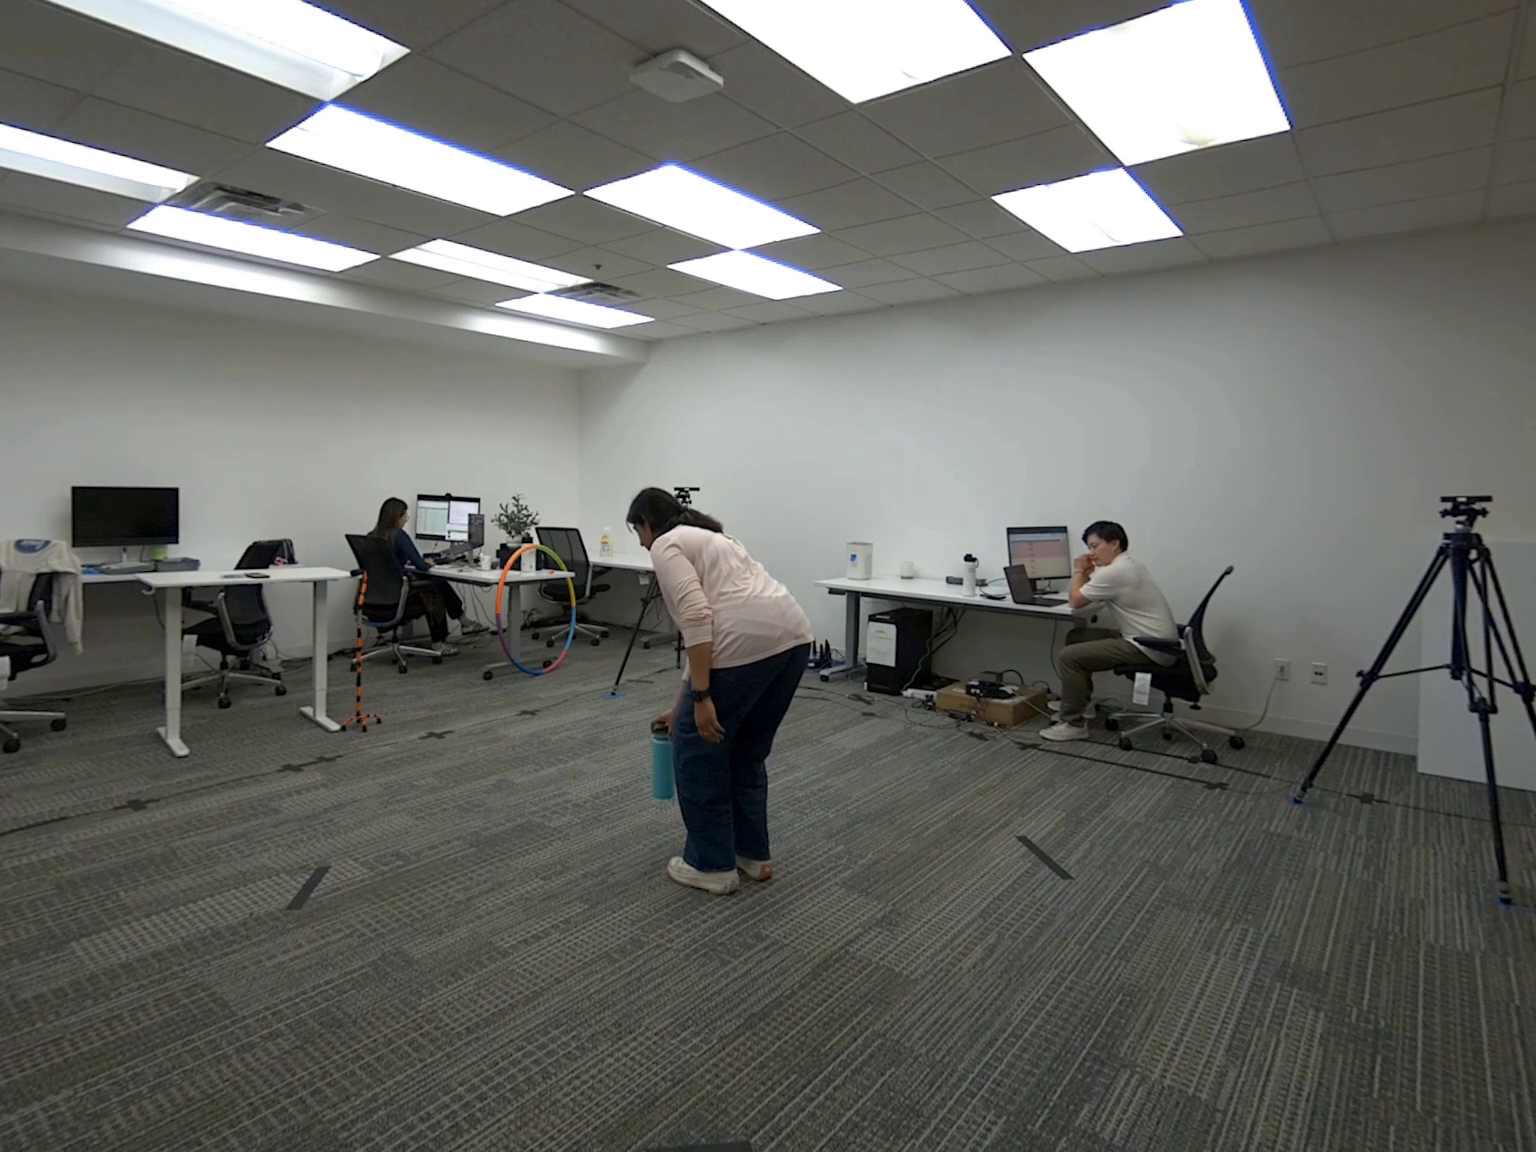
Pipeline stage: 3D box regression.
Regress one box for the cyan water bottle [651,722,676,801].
[{"bbox_3d":[-0.420,0.711,3.302,0.092,0.283,0.092,2,1,-2],"label":"cyan water bottle"}]
